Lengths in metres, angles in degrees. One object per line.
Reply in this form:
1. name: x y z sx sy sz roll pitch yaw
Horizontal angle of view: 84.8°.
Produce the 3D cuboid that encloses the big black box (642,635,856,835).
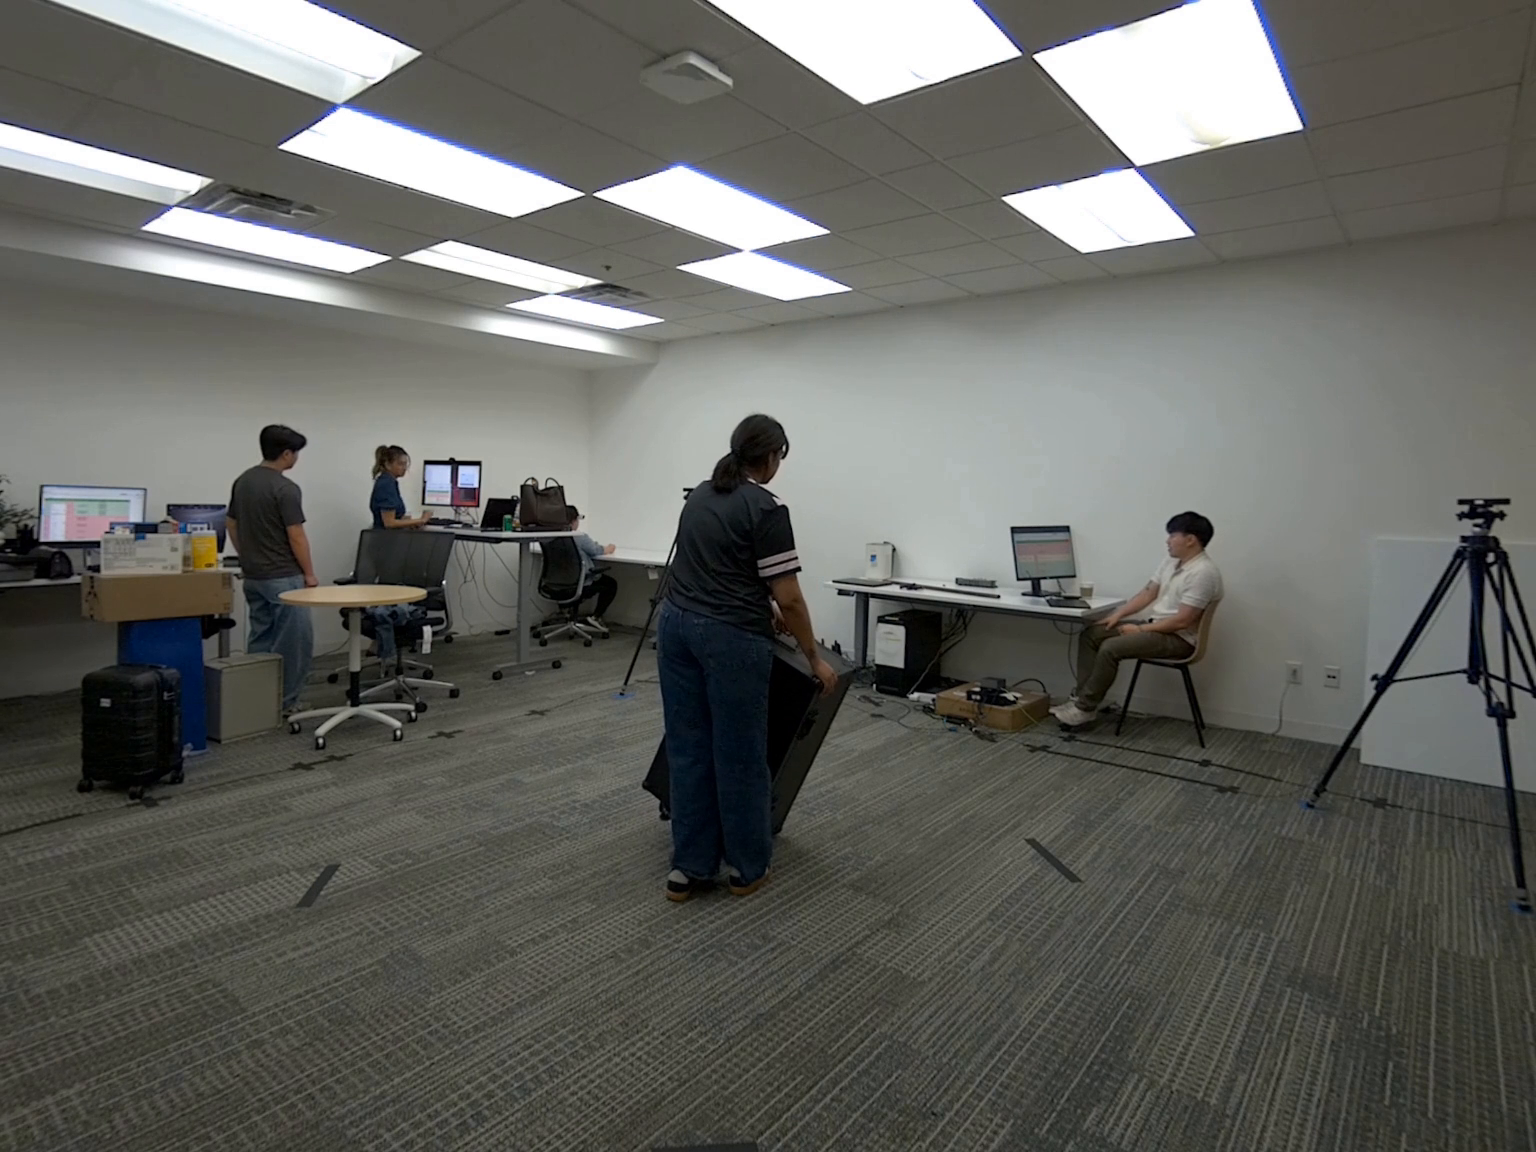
1. big black box: -0.108 0.613 3.312 0.541 0.862 0.375 30 16 24
